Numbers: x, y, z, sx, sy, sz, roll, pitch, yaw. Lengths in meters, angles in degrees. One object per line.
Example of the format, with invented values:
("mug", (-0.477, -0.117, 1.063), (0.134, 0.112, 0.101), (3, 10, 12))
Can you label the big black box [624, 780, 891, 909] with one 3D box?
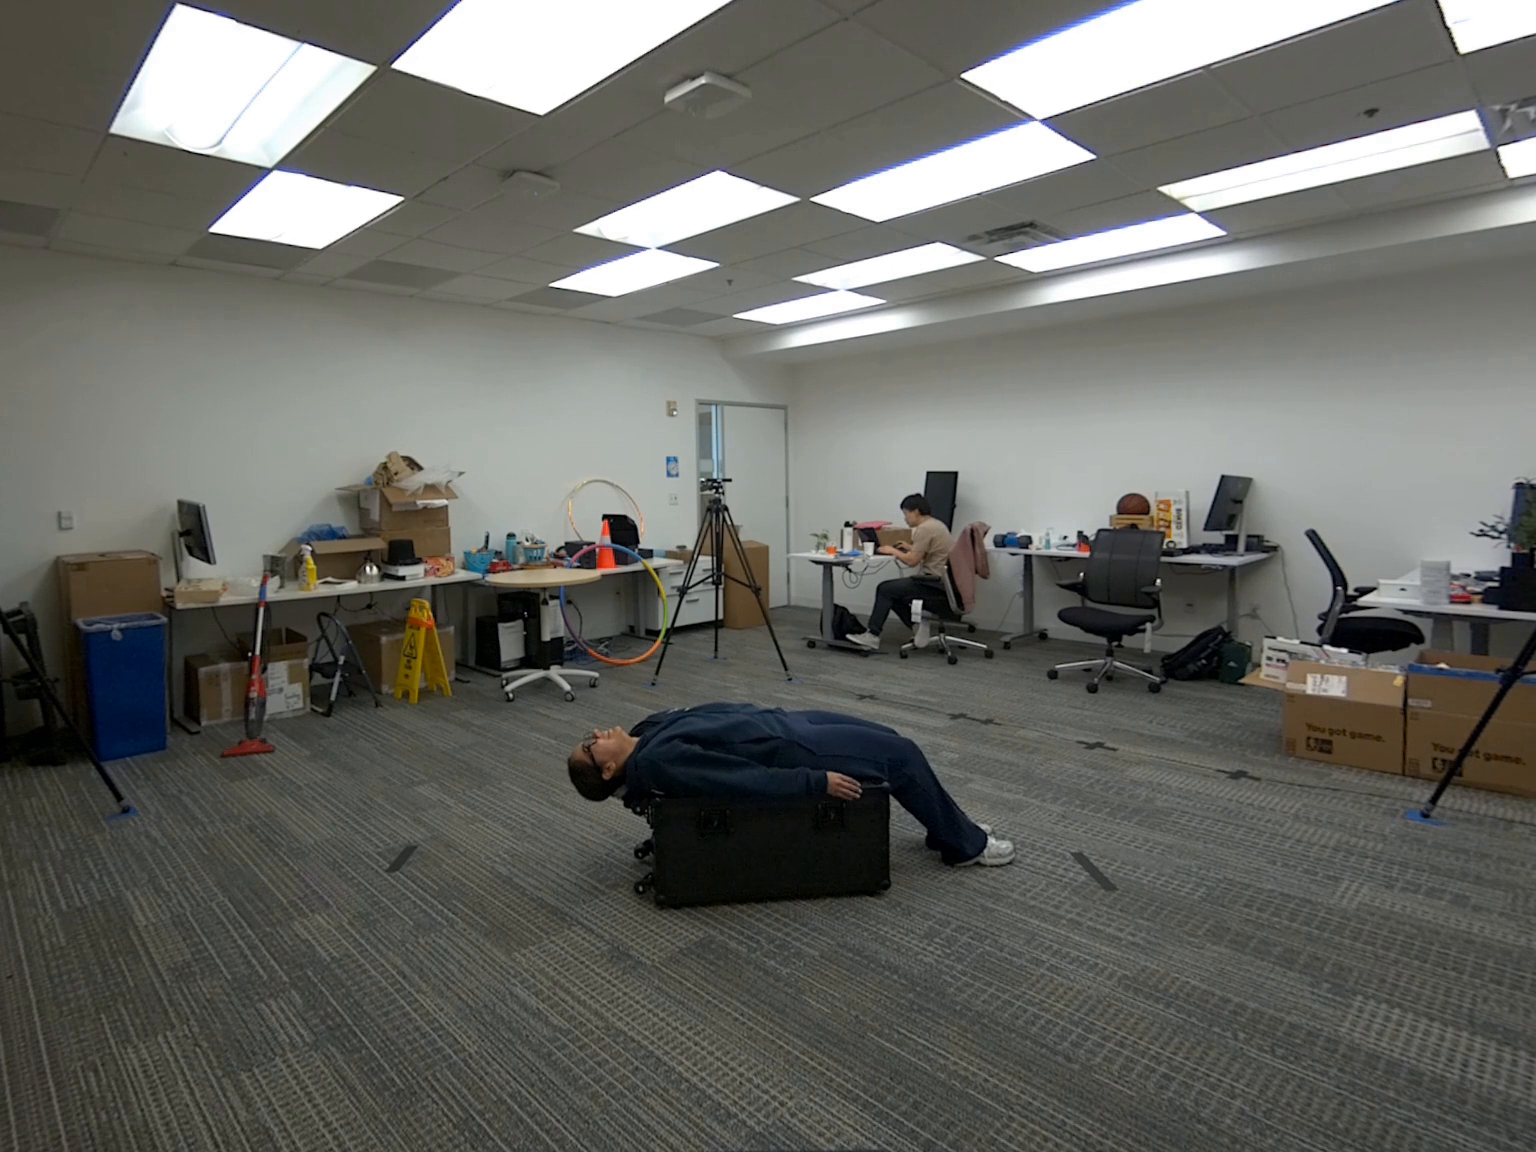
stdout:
("big black box", (-0.055, 0.866, 3.028), (0.856, 0.394, 0.528), (-1, 7, -7))
